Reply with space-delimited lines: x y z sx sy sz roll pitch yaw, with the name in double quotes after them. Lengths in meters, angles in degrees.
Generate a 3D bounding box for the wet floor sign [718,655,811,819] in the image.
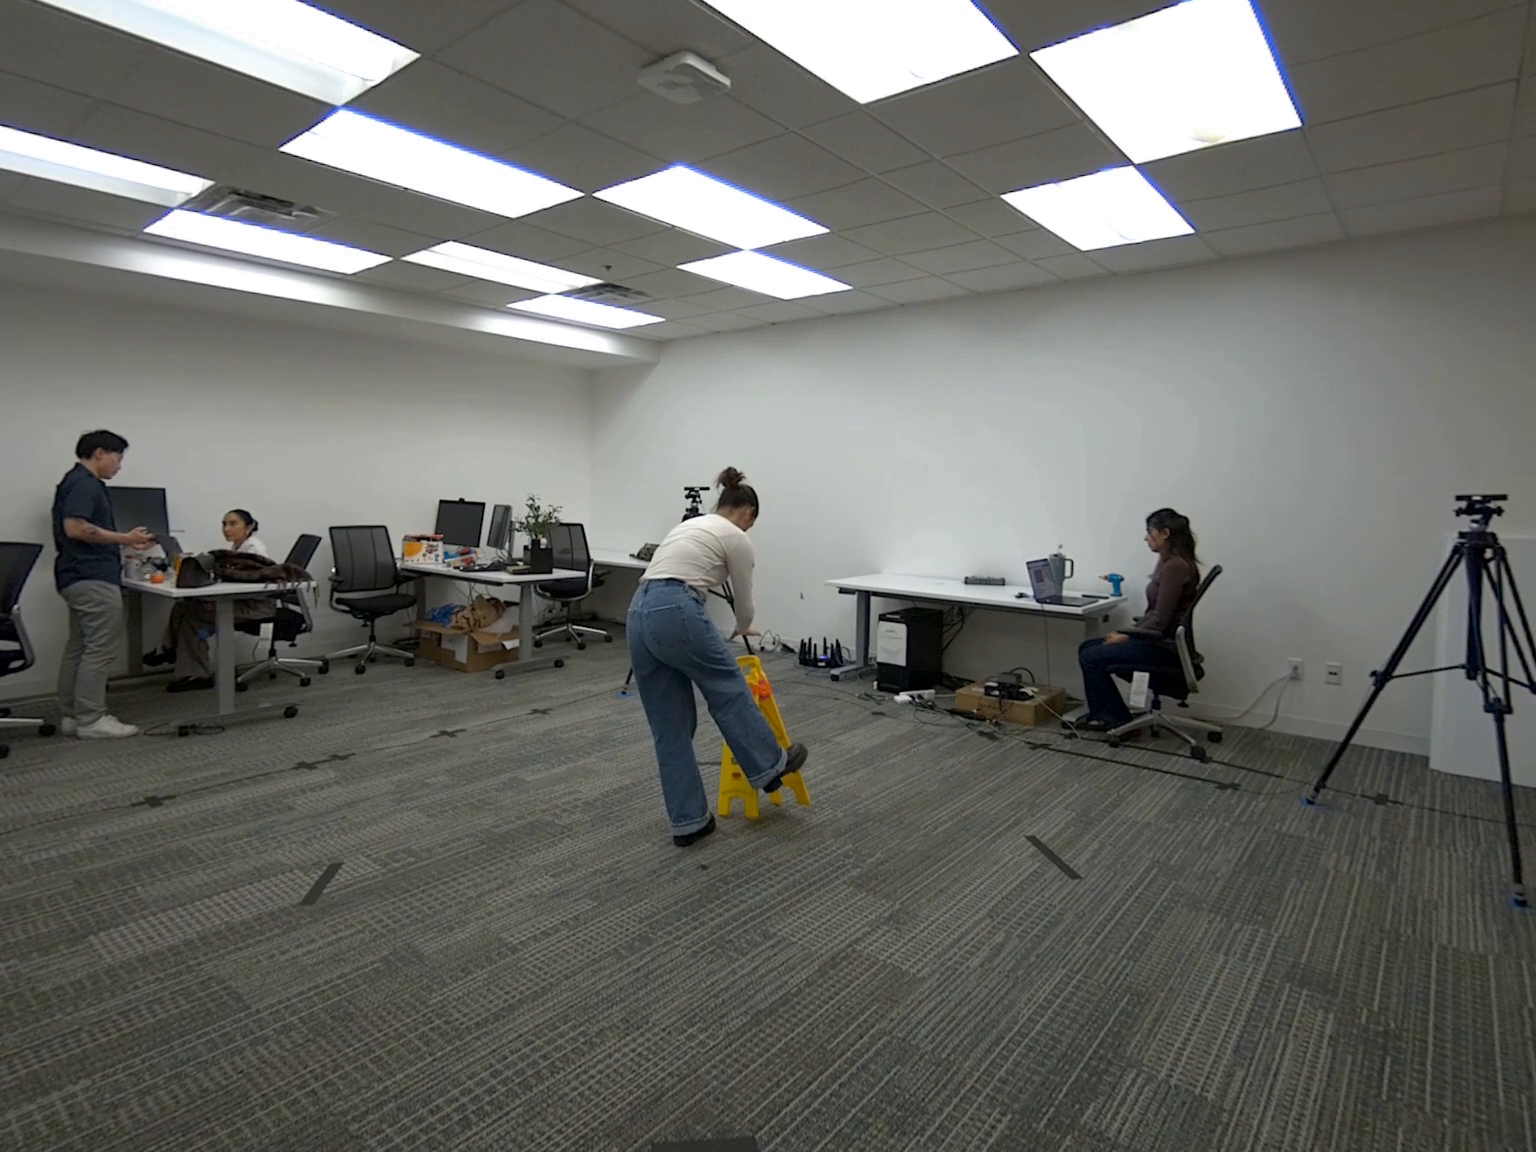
-0.070 0.670 3.663 0.281 0.654 0.287 -2 -12 -35 "wet floor sign"
